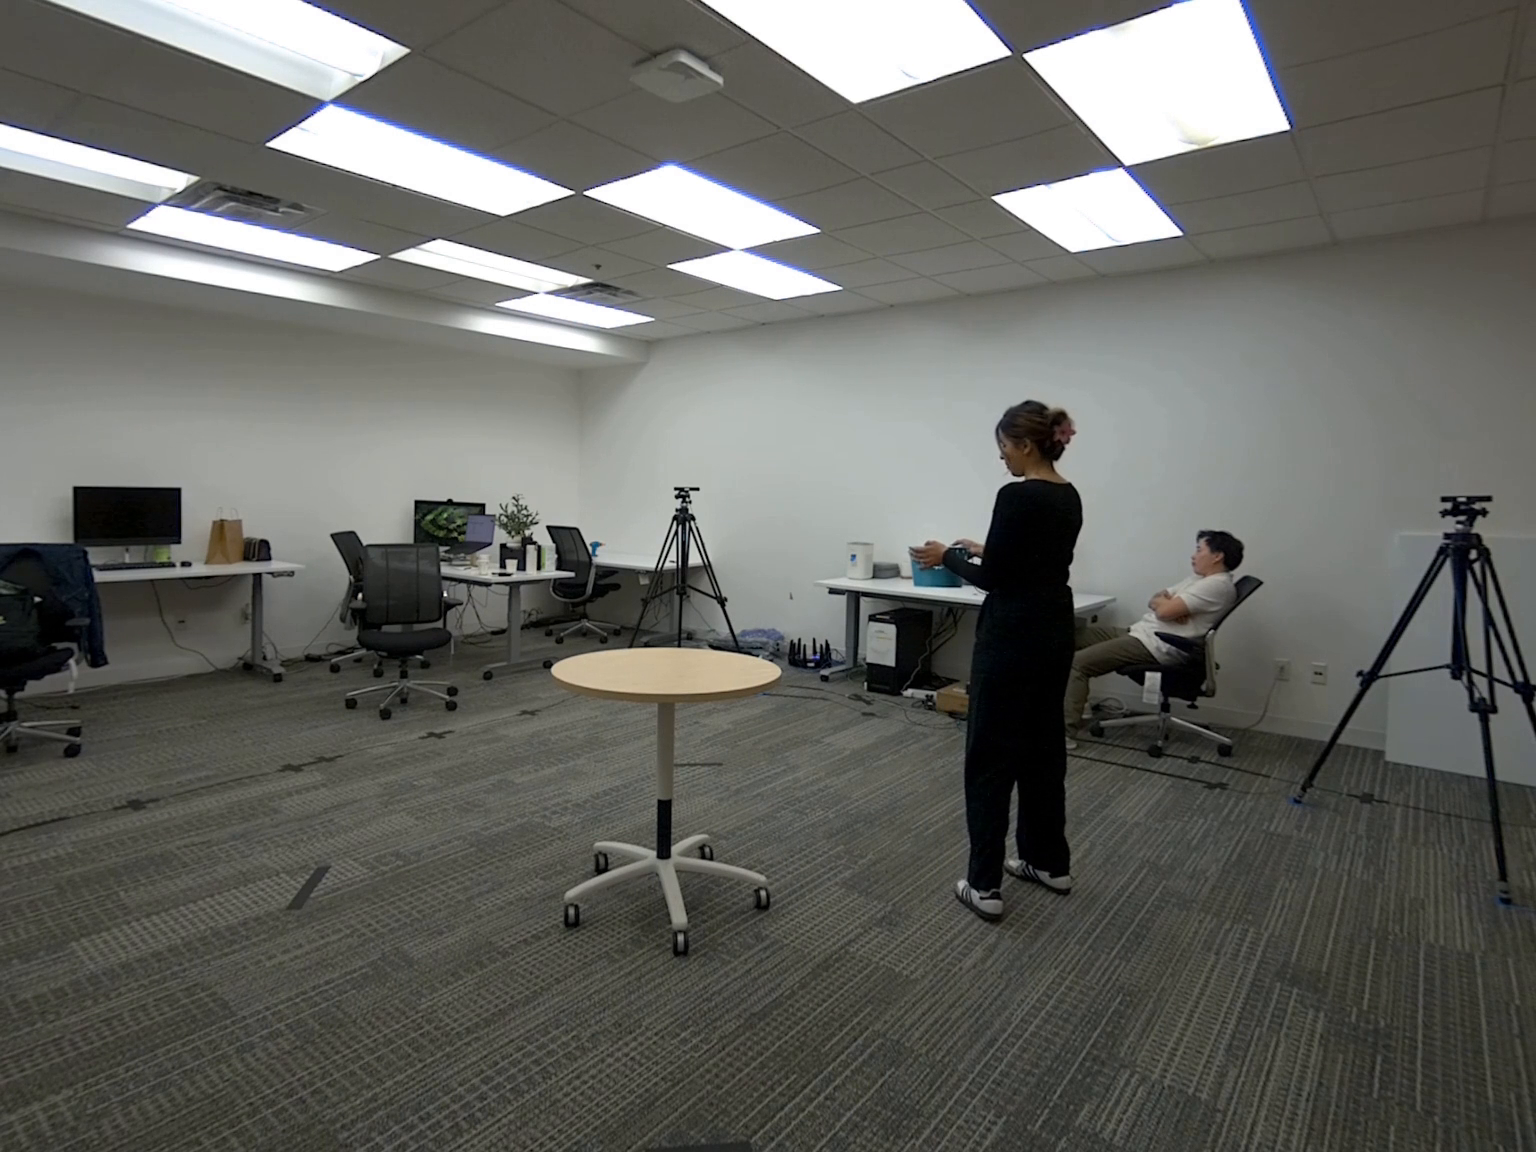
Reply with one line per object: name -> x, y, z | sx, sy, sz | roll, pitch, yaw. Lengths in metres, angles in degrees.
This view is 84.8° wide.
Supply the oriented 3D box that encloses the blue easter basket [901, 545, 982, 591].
blue easter basket -> 0.664, -0.035, 3.249 | 0.243, 0.156, 0.244 | 3, 1, -2
